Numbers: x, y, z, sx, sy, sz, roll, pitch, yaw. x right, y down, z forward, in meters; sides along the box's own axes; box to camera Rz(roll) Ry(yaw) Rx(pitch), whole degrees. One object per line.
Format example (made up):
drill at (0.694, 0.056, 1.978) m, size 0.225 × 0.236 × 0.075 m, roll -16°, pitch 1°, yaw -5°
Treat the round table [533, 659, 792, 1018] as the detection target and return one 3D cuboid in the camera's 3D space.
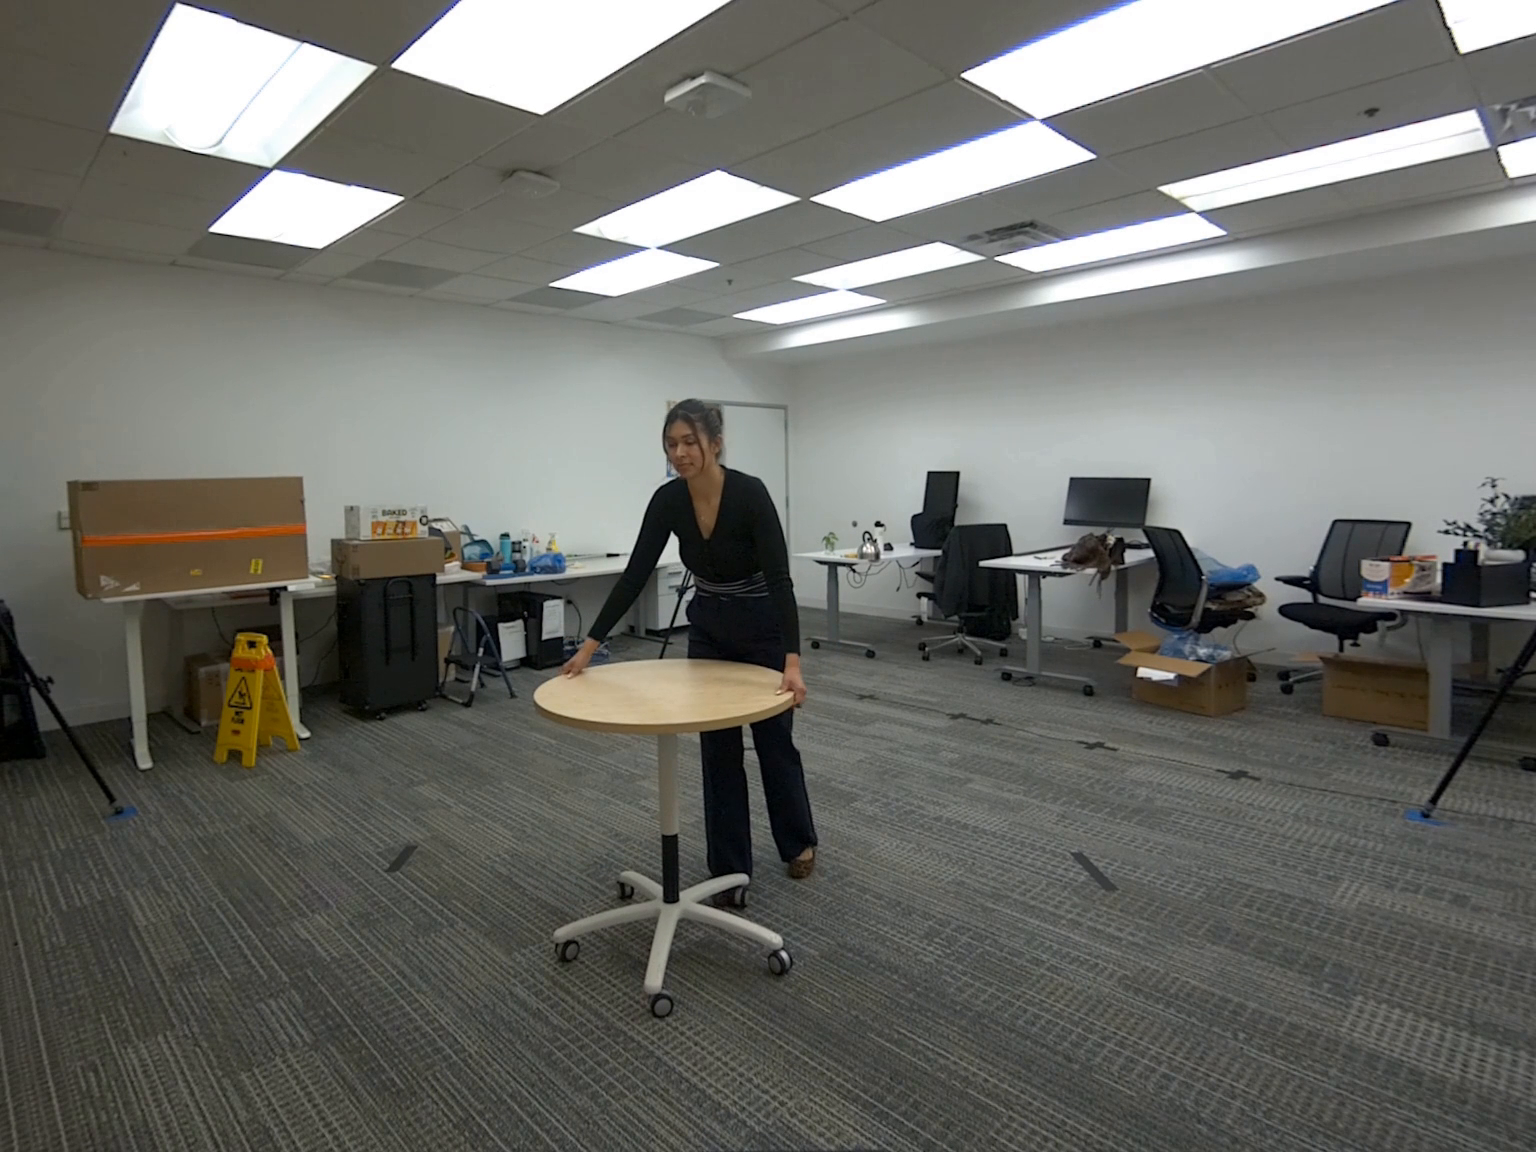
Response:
round table at (-0.289, 0.725, 2.540) m, size 0.763 × 0.791 × 0.768 m, roll -1°, pitch 5°, yaw -2°
